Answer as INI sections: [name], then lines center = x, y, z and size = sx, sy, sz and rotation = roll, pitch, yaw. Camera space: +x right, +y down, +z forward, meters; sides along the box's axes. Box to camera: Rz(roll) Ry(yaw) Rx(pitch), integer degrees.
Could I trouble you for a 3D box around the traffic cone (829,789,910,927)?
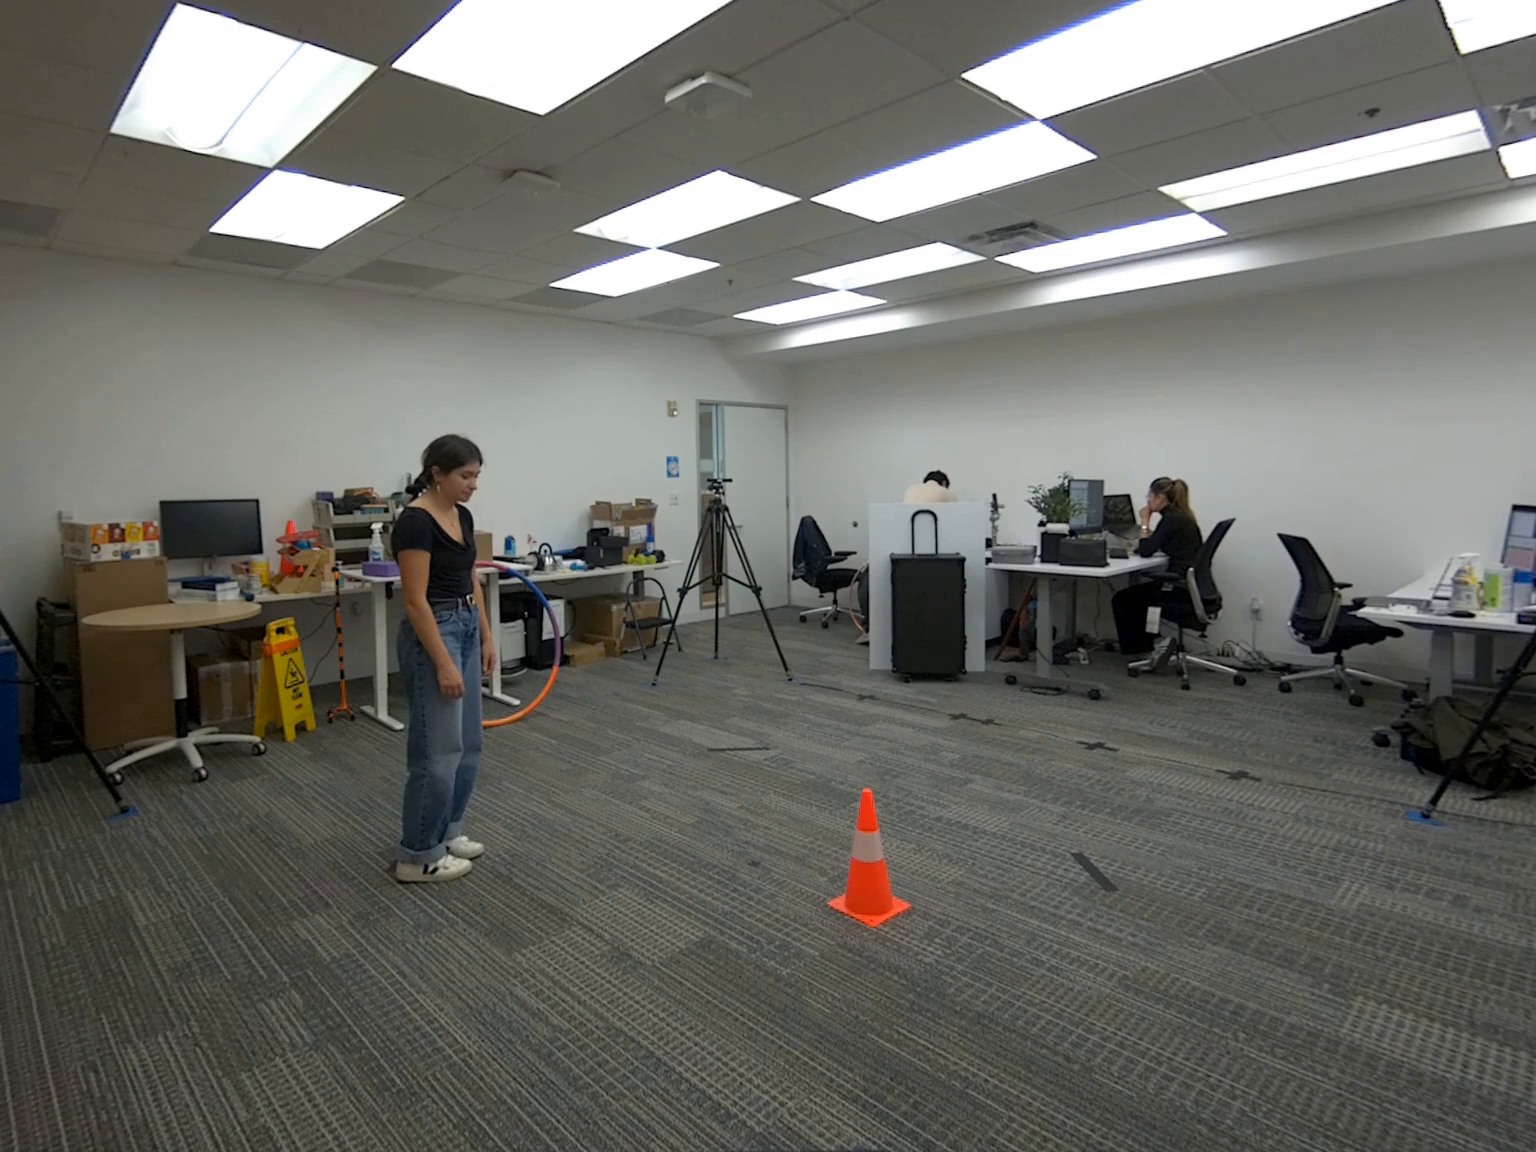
[traffic cone]
center = 0.320, 0.884, 2.781
size = 0.198, 0.382, 0.211
rotation = -4, 4, -41
